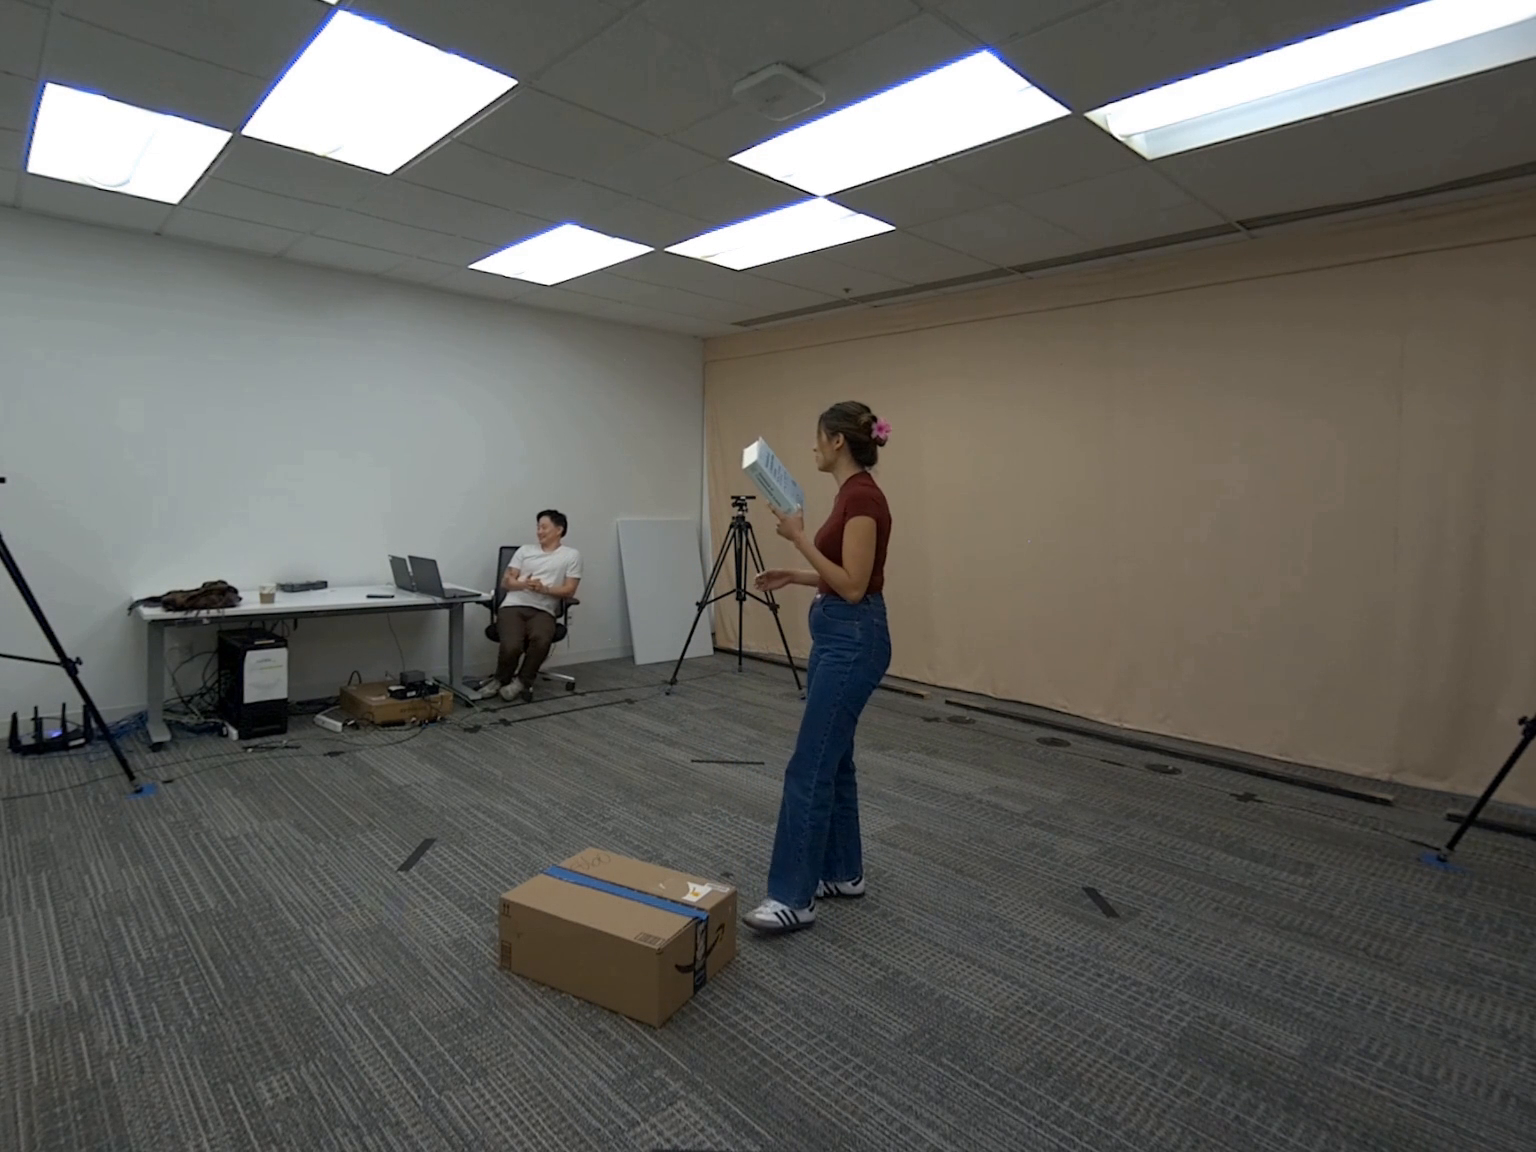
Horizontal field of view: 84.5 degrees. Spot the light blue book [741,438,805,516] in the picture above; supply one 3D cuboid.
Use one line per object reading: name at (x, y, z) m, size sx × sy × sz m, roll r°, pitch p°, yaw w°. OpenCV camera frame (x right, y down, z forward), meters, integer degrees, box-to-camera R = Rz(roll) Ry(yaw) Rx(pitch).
light blue book at (0.016, -0.305, 2.768) m, size 0.059 × 0.256 × 0.194 m, roll -34°, pitch 21°, yaw 20°
